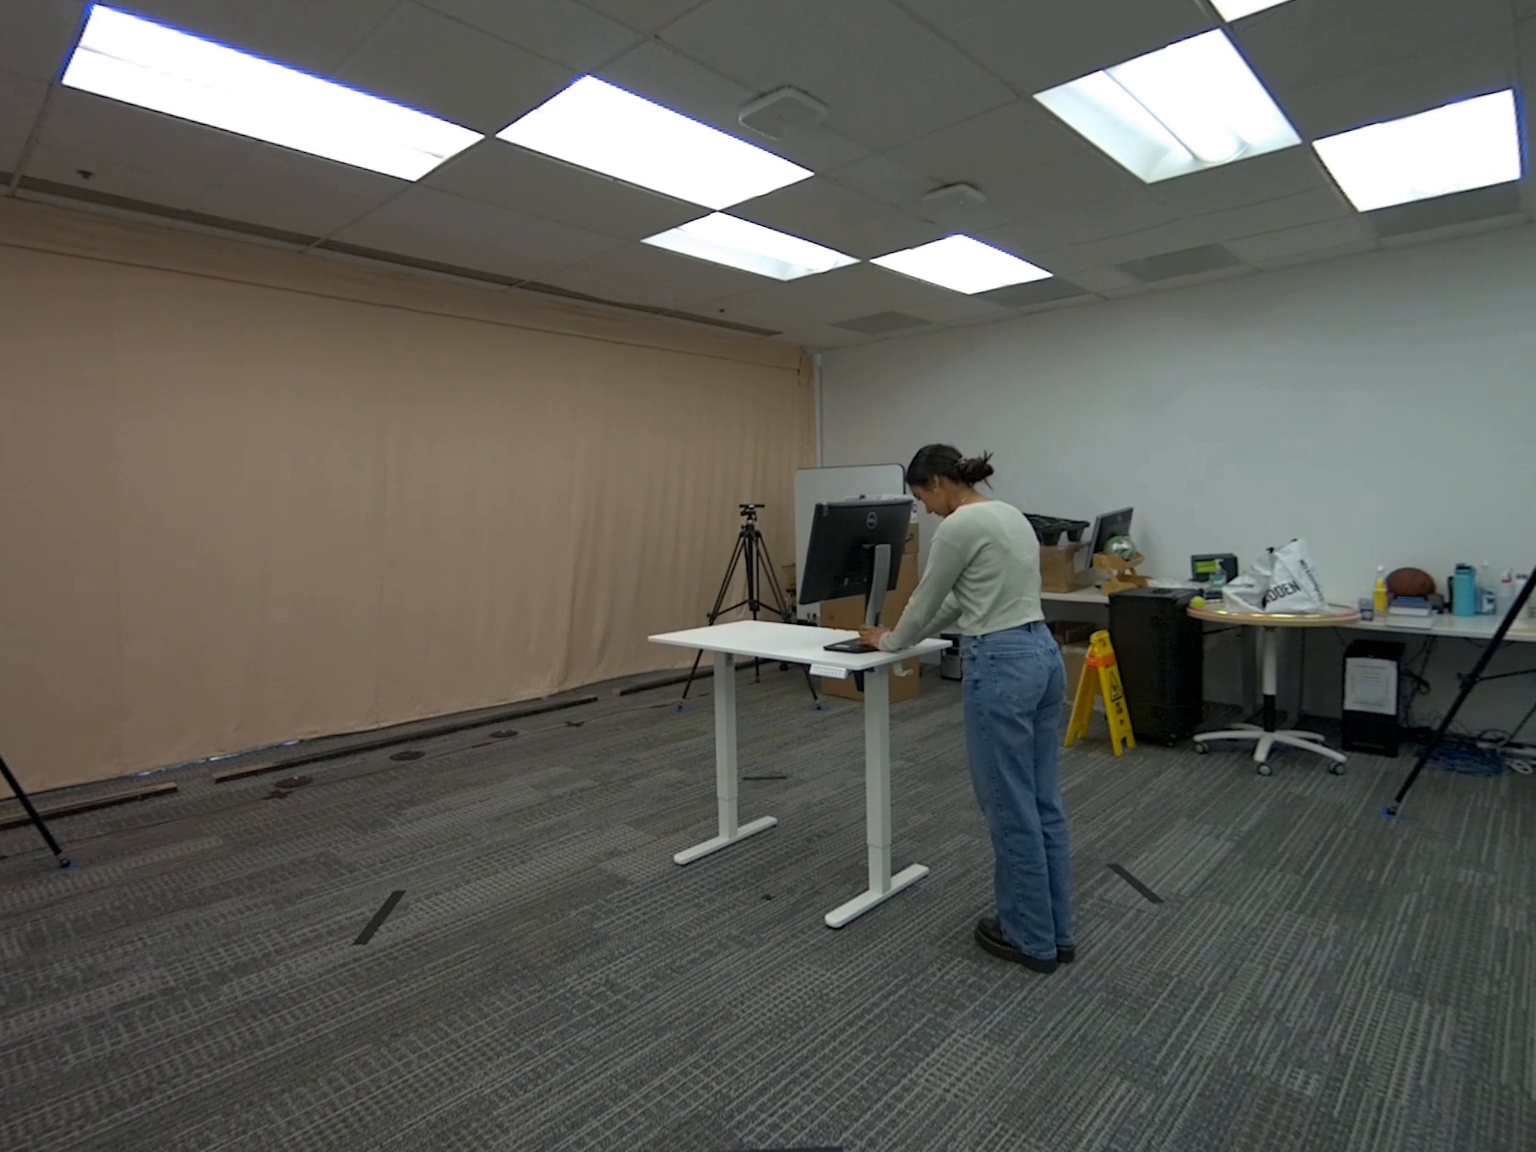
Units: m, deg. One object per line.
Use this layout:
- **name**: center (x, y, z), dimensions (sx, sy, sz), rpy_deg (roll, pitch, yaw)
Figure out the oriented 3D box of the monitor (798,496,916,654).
- **monitor**: center (0.346, -0.002, 2.951), dimensions (0.193, 0.521, 0.523), rpy_deg (4, 7, 43)
